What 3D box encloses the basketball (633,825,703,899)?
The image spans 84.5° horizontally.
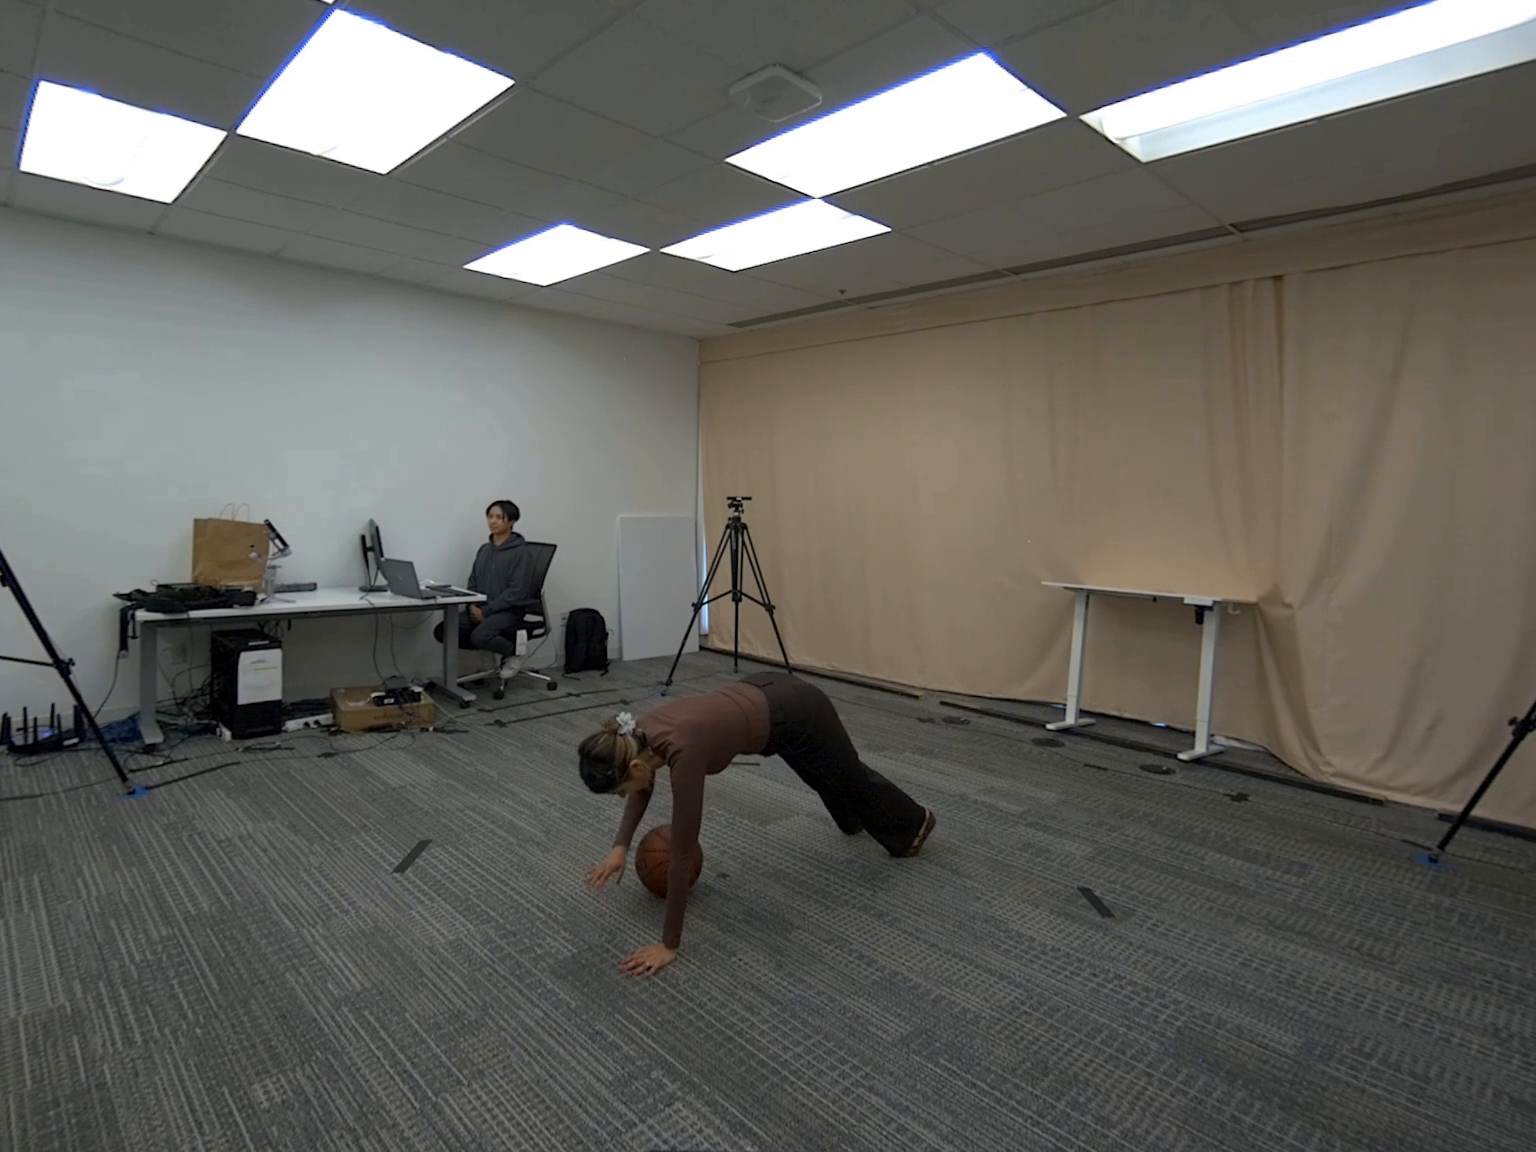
[{"bbox_3d":[-0.355,0.996,2.957,0.236,0.235,0.237,1,4,-1],"label":"basketball"}]
